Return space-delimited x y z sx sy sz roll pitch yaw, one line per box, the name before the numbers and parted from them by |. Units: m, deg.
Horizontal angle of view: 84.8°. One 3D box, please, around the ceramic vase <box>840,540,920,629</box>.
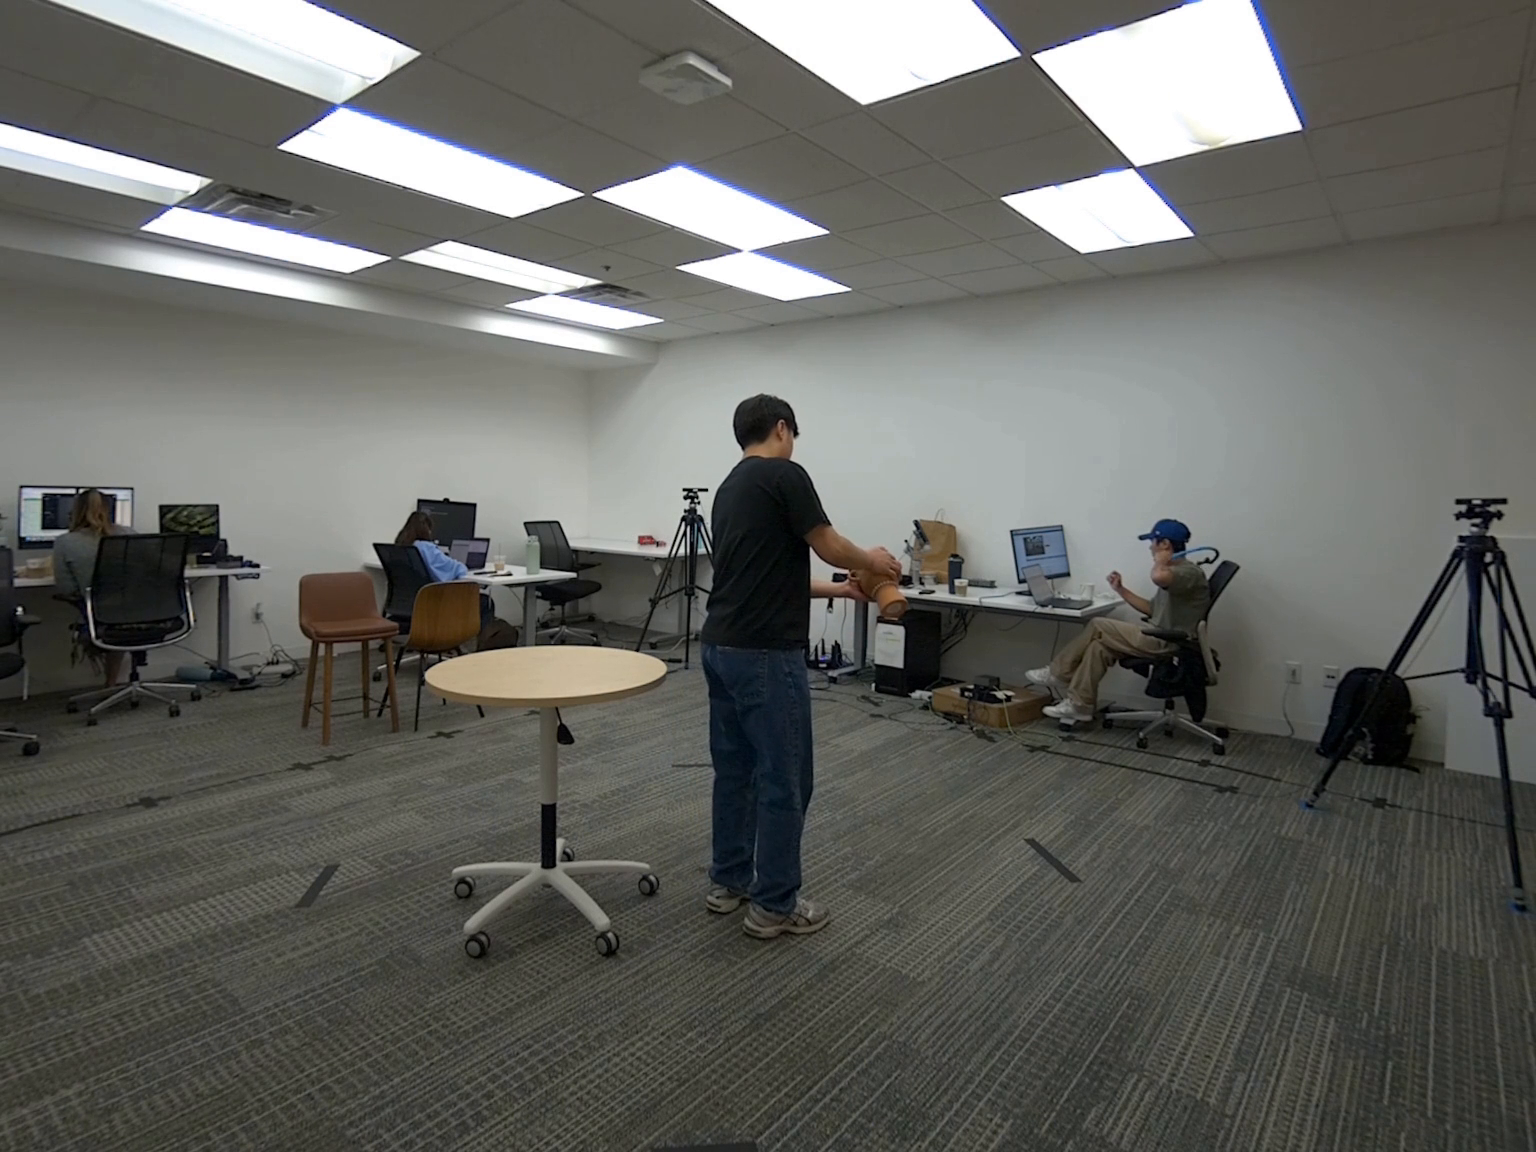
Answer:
ceramic vase | 0.381 0.028 2.901 0.159 0.228 0.129 -37 -43 20
